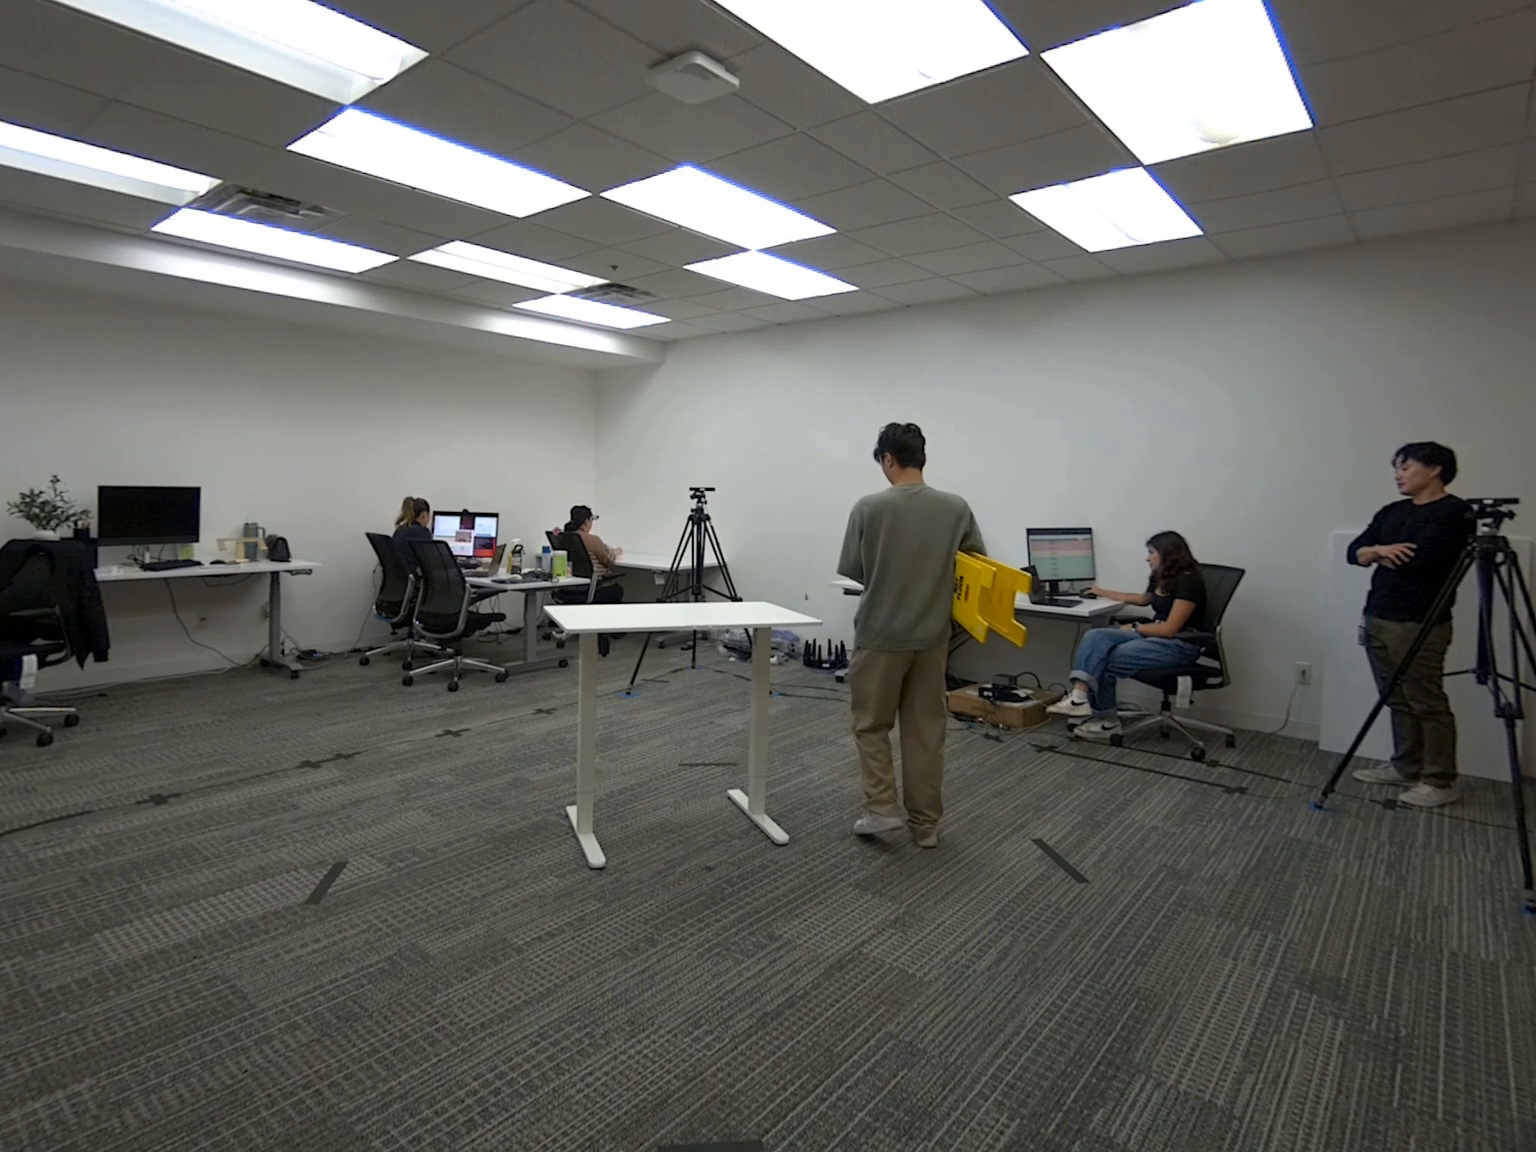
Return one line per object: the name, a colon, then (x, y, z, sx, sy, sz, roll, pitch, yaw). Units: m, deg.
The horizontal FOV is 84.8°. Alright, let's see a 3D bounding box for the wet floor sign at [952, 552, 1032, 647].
wet floor sign: (0.750, 0.037, 3.314, 0.284, 0.279, 0.665, 4, 14, -18)
